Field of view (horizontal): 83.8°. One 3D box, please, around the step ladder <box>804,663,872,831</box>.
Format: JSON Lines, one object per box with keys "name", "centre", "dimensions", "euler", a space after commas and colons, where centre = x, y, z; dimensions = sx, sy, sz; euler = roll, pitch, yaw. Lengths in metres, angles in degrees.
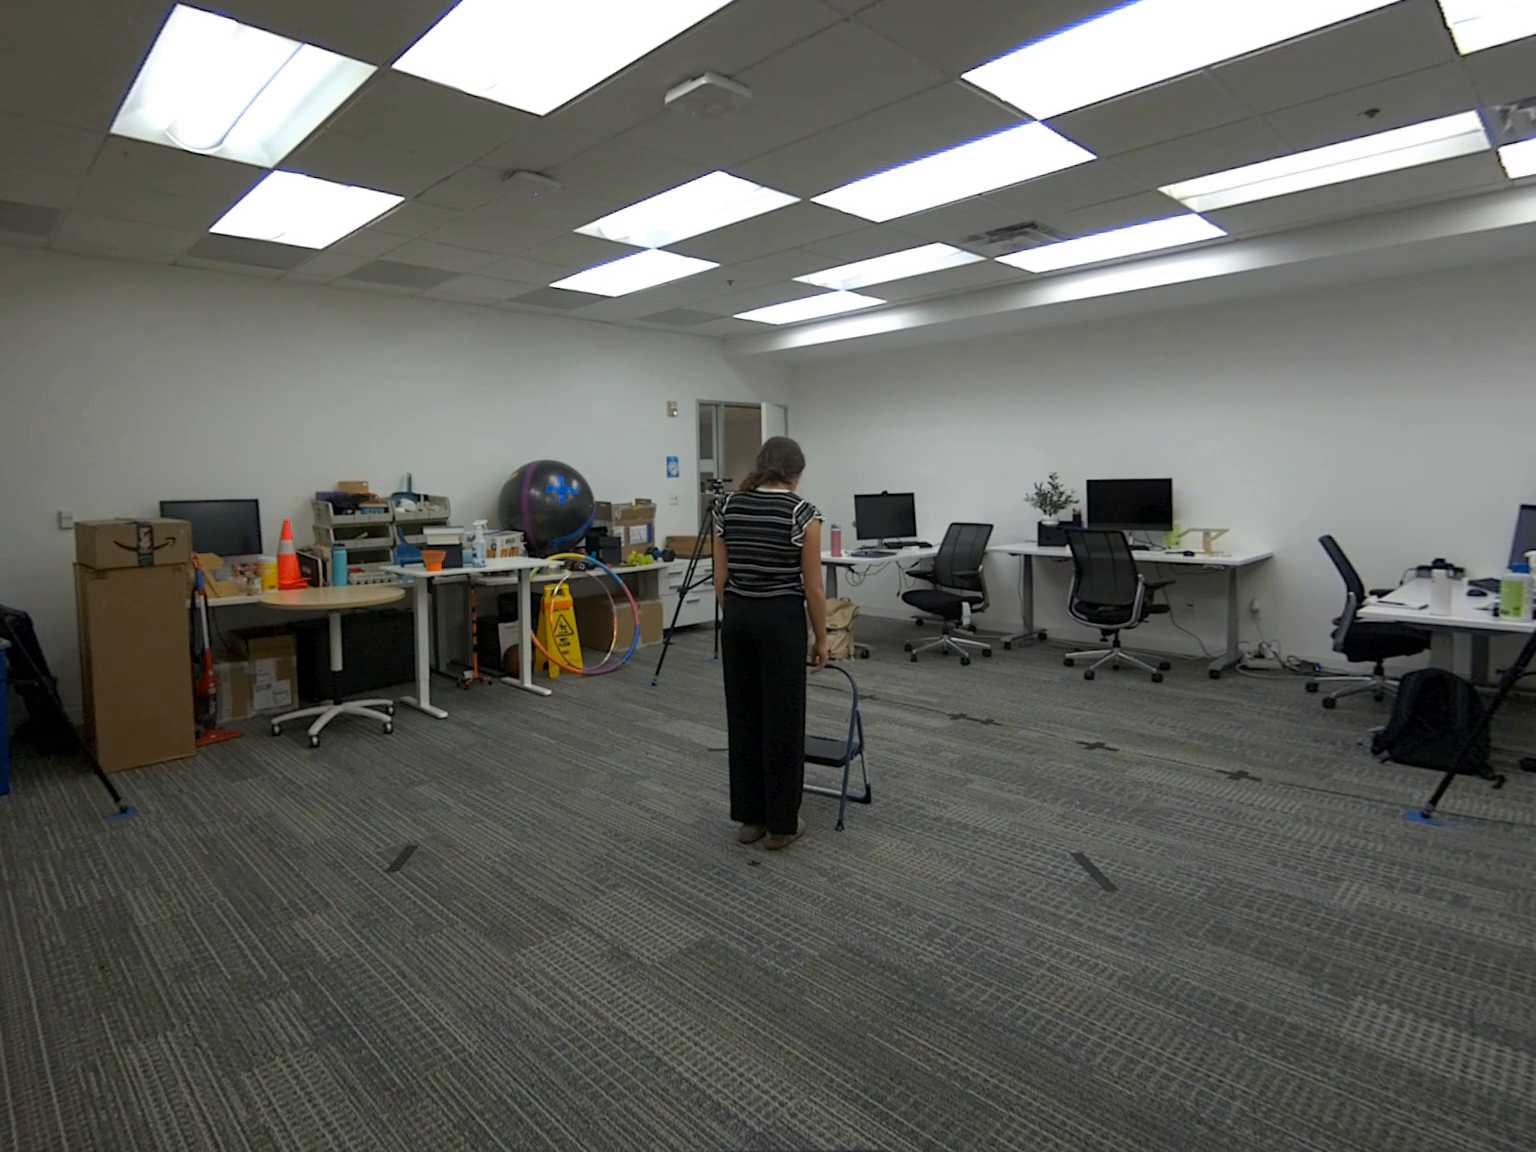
{"name": "step ladder", "centre": [0.184, 0.680, 3.617], "dimensions": [0.442, 0.604, 0.341], "euler": [2, 5, 30]}
